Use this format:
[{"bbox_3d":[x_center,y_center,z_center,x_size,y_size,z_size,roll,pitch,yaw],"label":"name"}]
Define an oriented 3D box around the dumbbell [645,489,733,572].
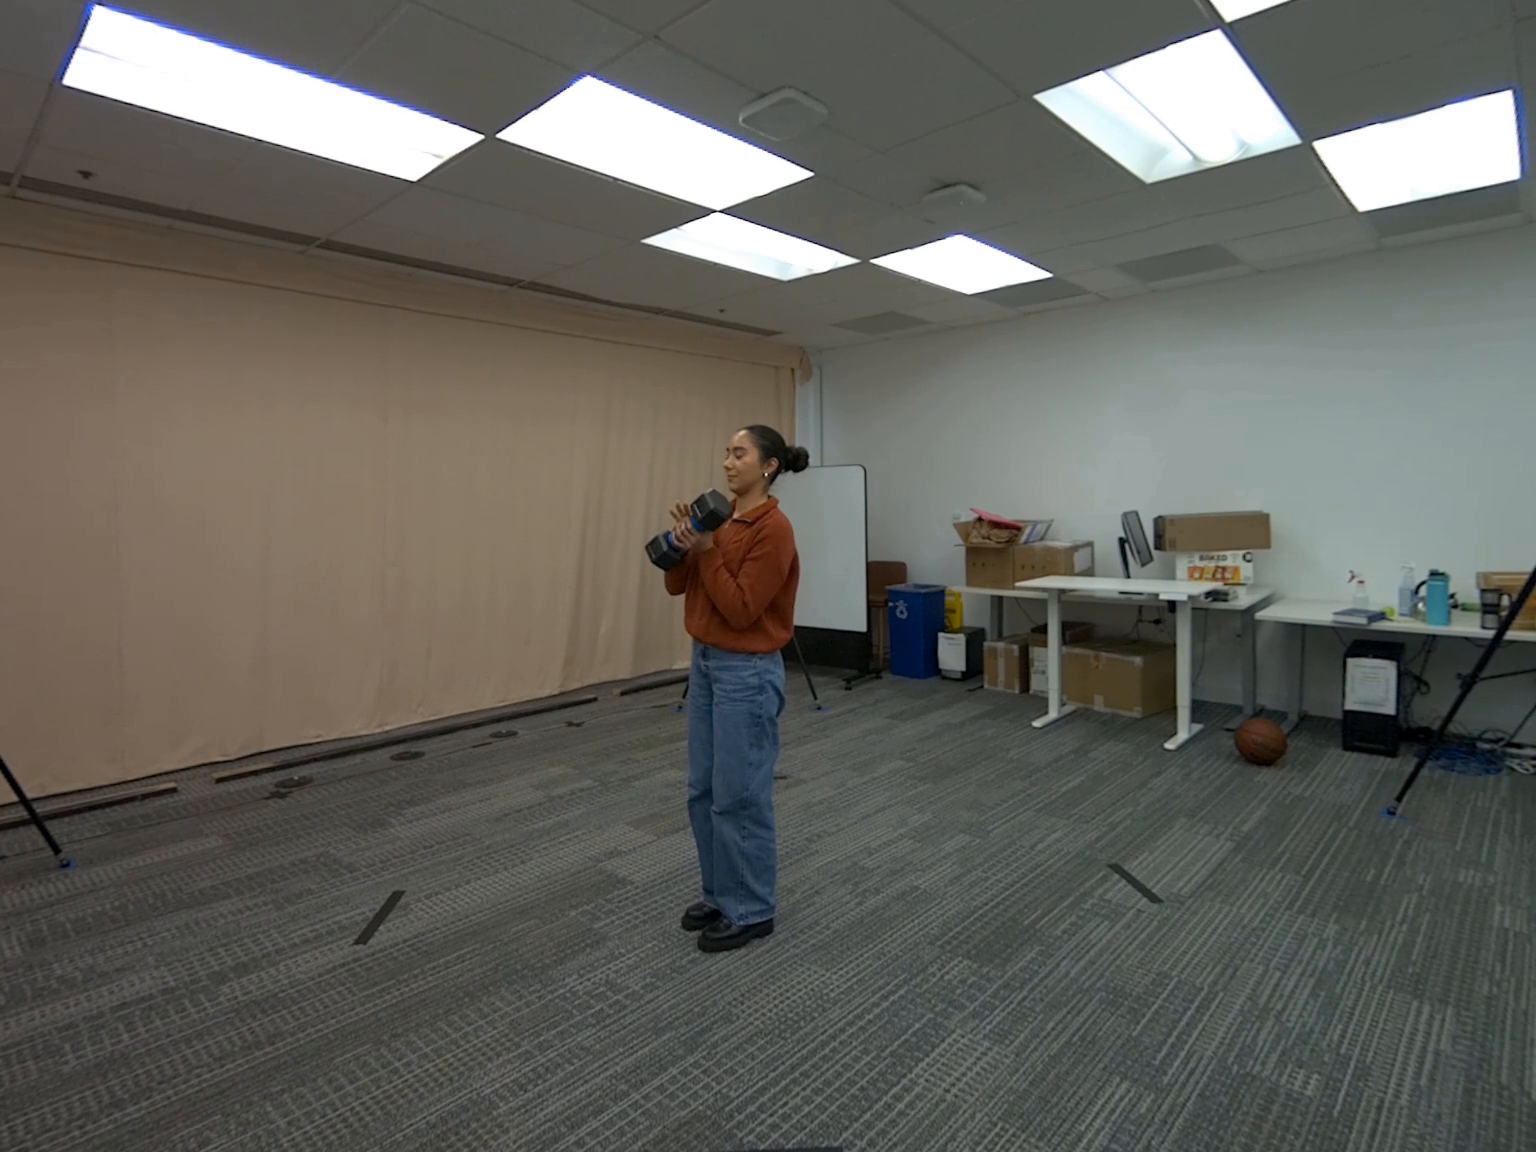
[{"bbox_3d":[-0.237,-0.136,2.571,0.119,0.111,0.296,34,-59,-30],"label":"dumbbell"}]
